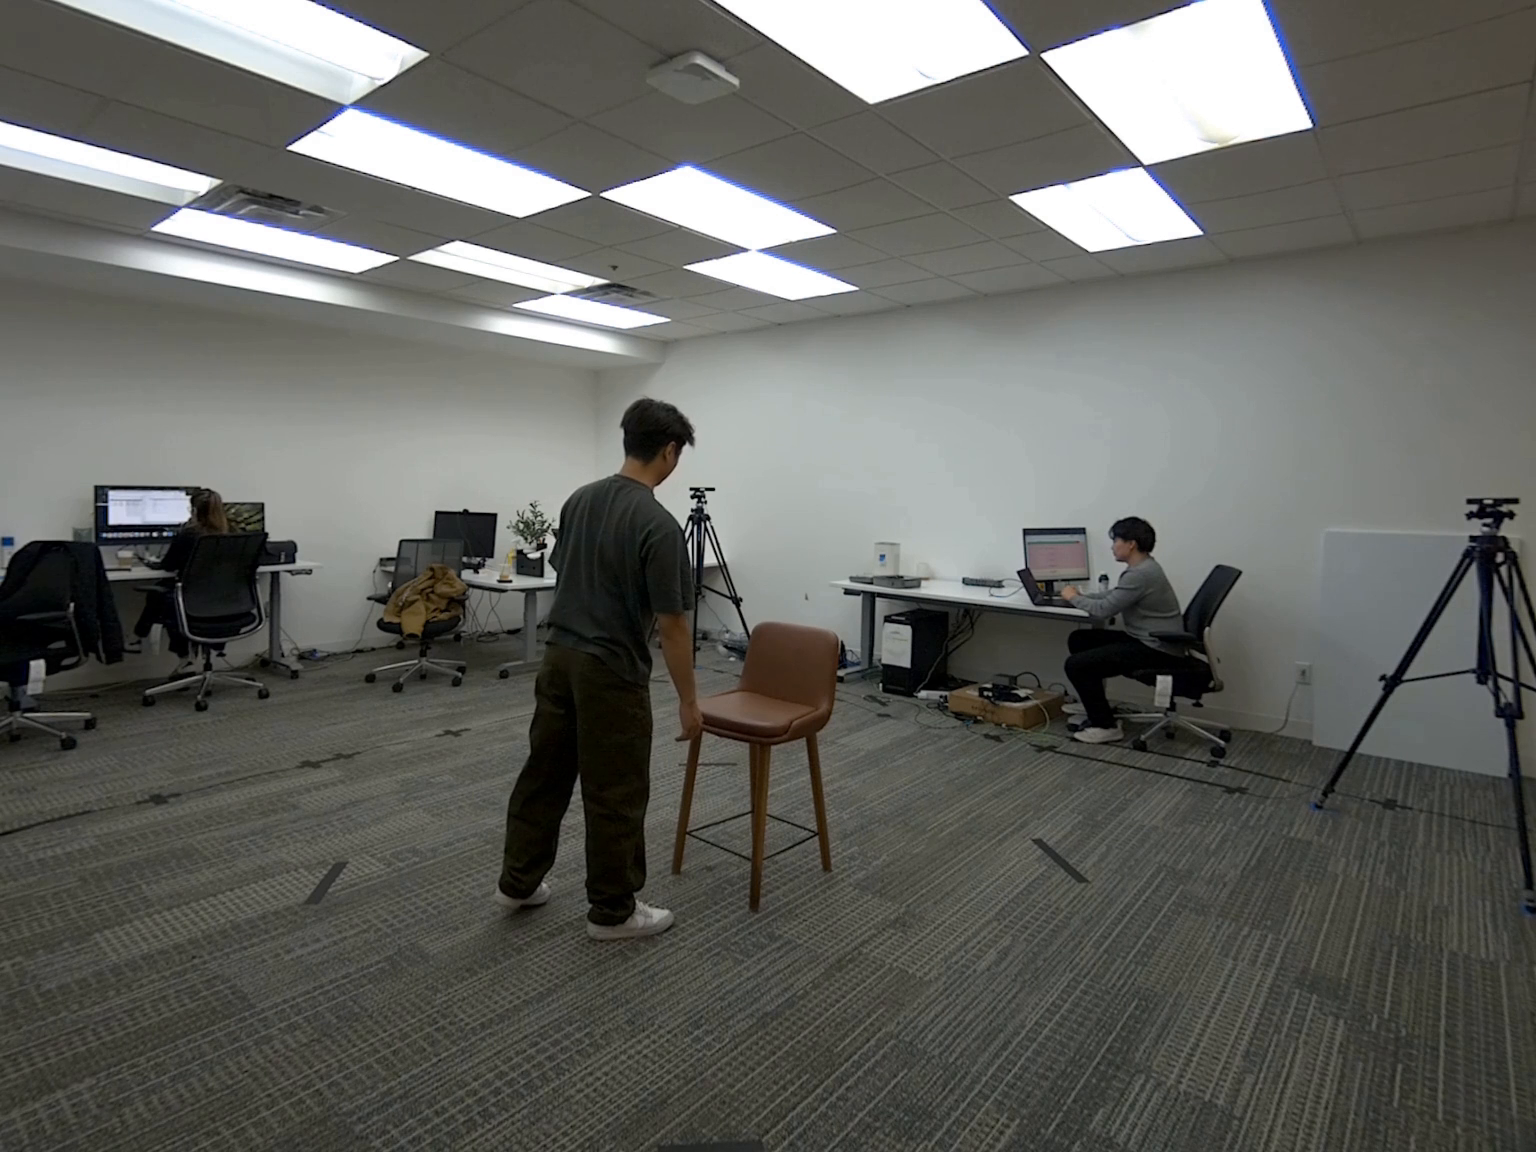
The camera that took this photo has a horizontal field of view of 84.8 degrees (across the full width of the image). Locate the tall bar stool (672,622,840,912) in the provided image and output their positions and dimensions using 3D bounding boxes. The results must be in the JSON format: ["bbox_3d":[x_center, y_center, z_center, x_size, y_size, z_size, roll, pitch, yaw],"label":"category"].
[{"bbox_3d":[-0.044,0.636,3.076,0.472,0.889,0.452,4,2,42],"label":"tall bar stool"}]
